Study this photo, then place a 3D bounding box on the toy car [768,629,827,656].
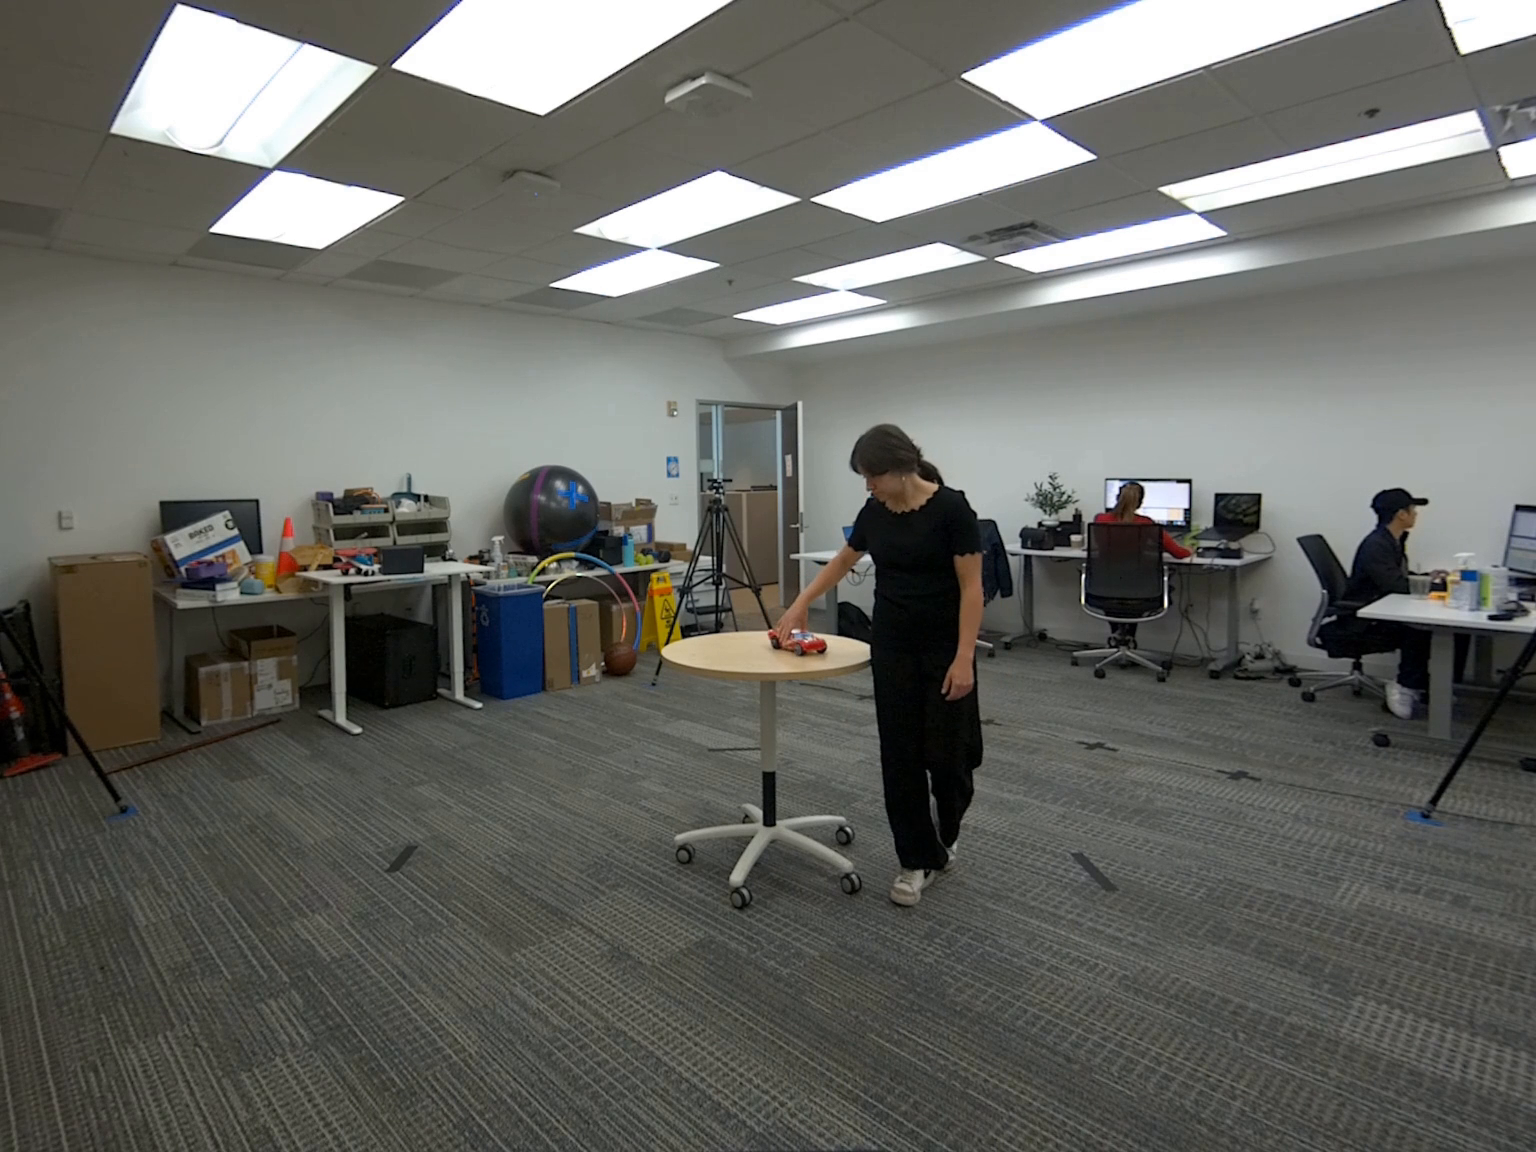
[{"bbox_3d":[0.098,0.234,3.059,0.127,0.082,0.263,-3,18,-30],"label":"toy car"}]
